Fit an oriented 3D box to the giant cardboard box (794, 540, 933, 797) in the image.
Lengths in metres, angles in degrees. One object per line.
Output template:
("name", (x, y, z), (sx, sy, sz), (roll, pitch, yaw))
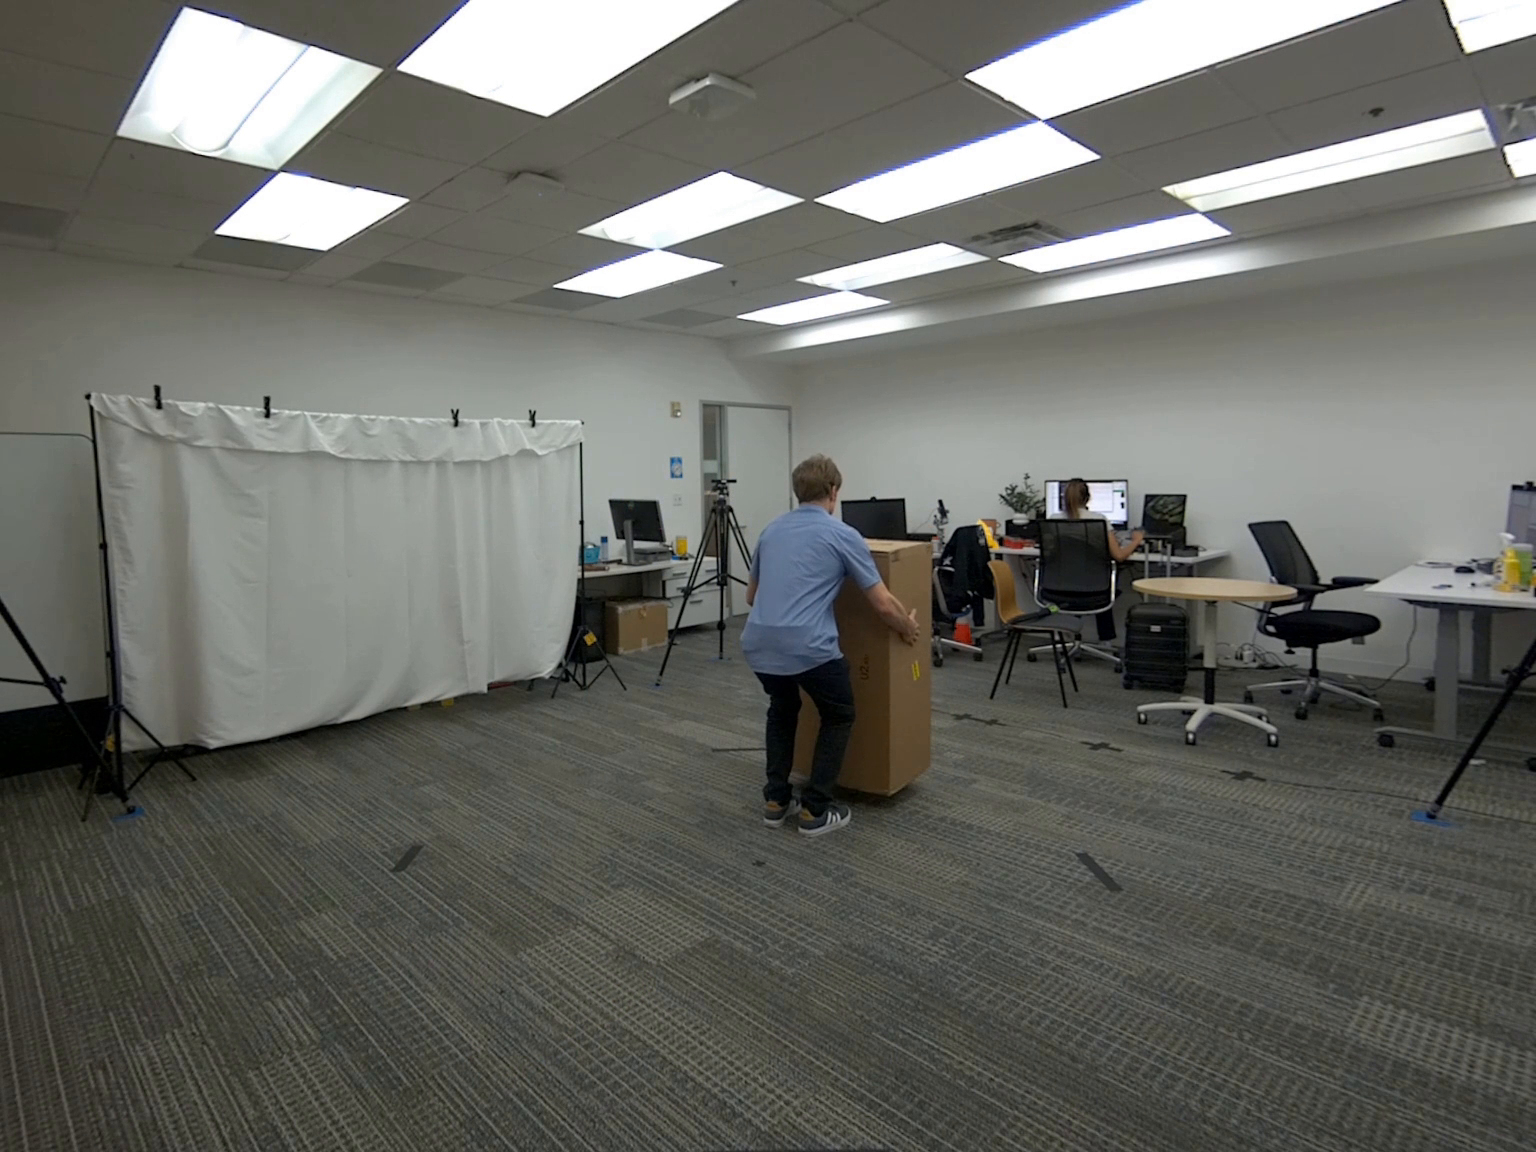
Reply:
("giant cardboard box", (0.381, 0.362, 3.824), (0.594, 1.021, 0.416), (3, 6, 36))
